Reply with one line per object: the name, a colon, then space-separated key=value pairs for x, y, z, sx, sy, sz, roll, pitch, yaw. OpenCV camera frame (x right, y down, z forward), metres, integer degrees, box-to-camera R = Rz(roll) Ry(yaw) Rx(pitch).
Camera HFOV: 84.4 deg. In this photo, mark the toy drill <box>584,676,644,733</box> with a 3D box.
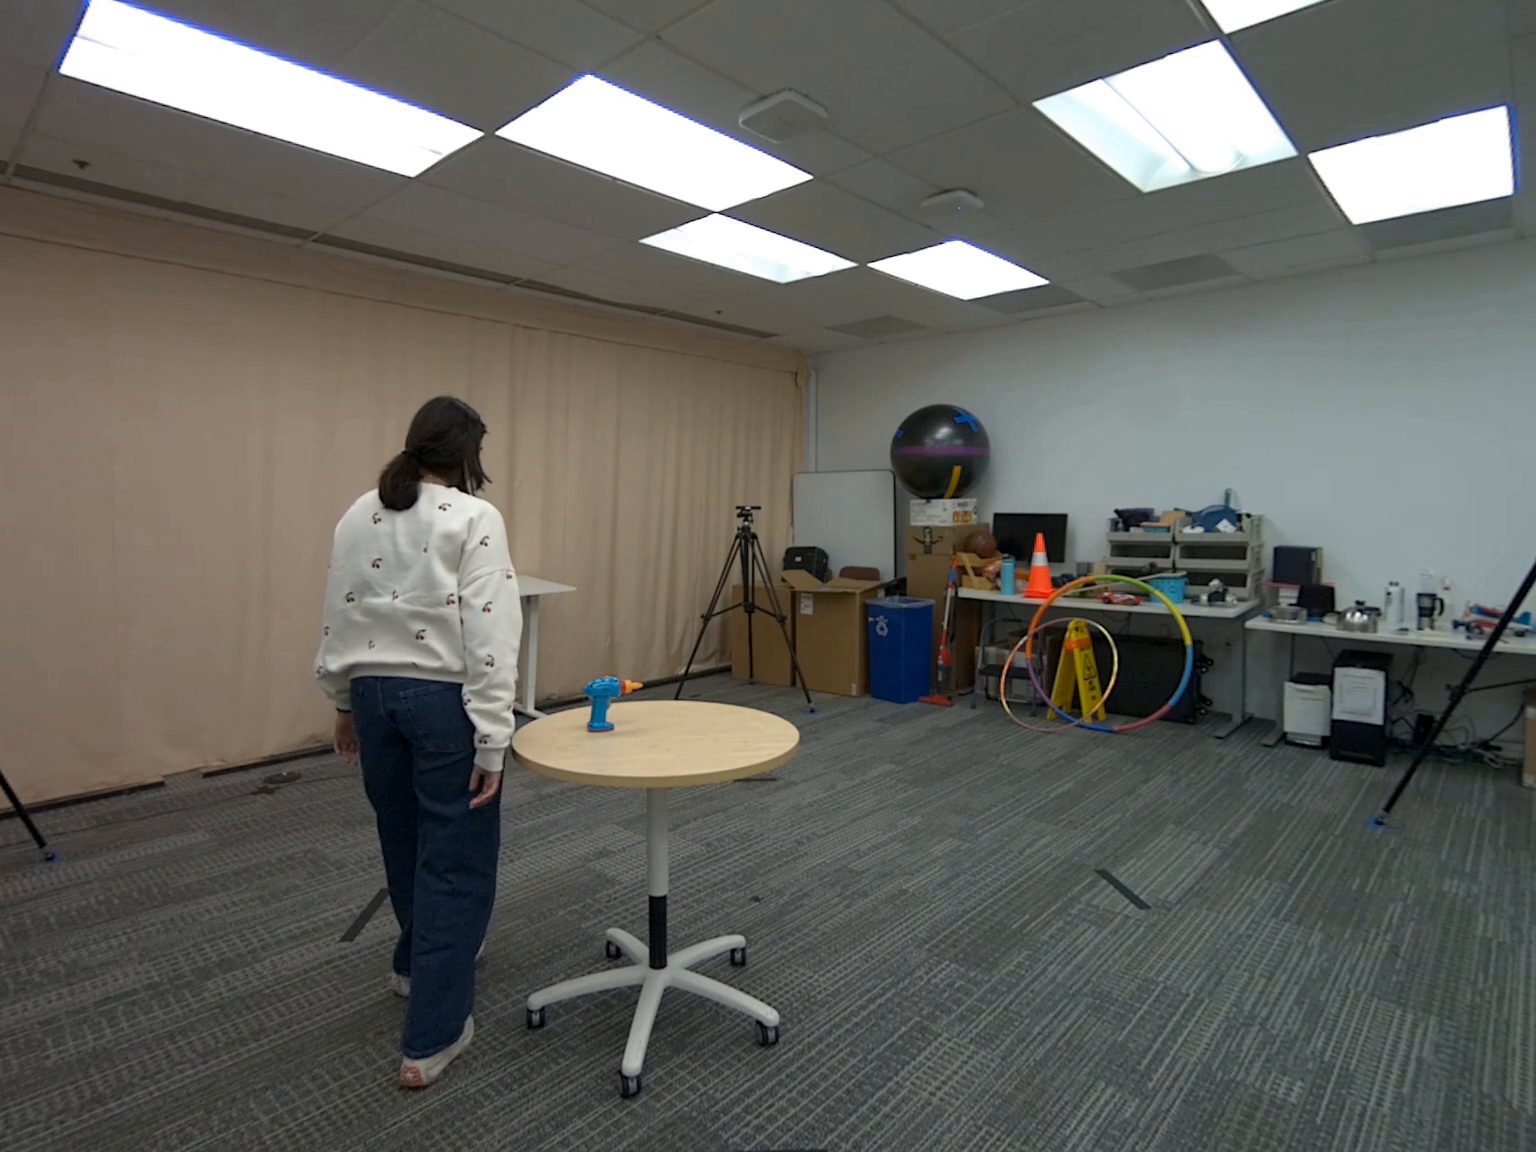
toy drill: x=-0.420 y=0.348 z=2.300 sx=0.166 sy=0.146 sz=0.062 roll=-1 pitch=0 yaw=-25
